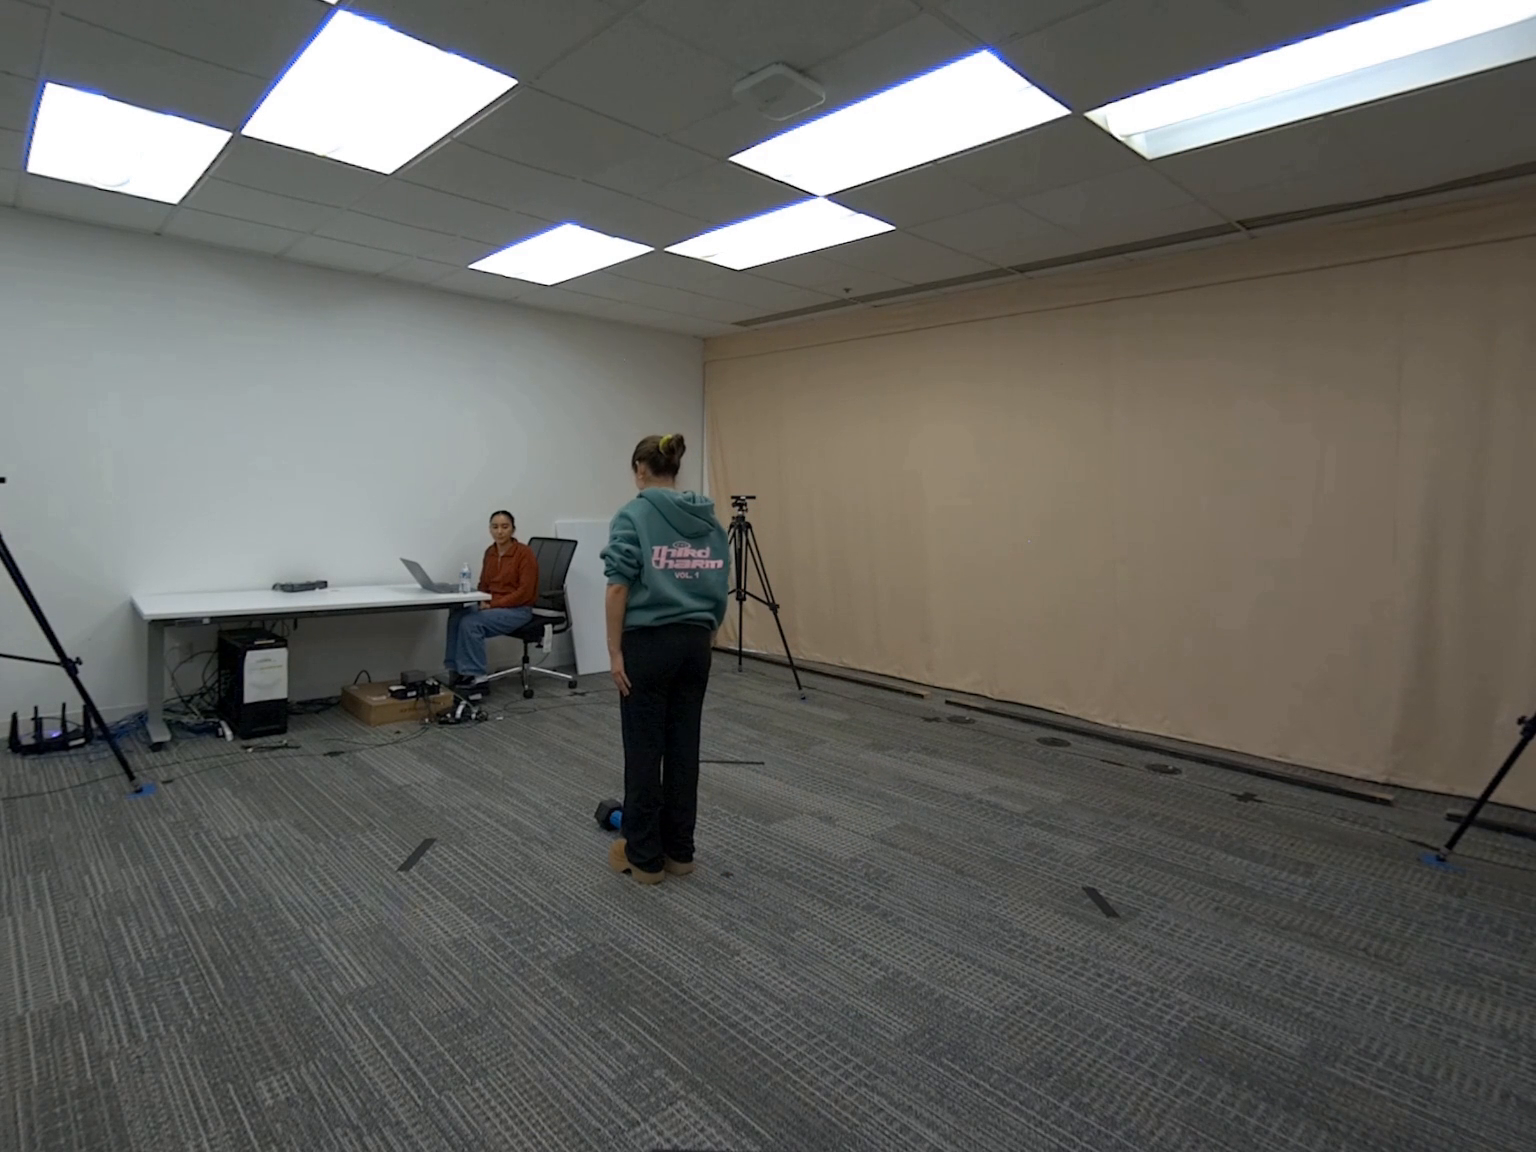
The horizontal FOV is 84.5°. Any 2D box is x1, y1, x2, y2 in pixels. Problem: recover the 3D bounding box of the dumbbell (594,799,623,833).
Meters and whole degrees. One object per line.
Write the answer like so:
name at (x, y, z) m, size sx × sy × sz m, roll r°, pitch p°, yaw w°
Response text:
dumbbell at (-0.600, 1.010, 3.441) m, size 0.108 × 0.120 × 0.301 m, roll -37°, pitch 27°, yaw -32°
